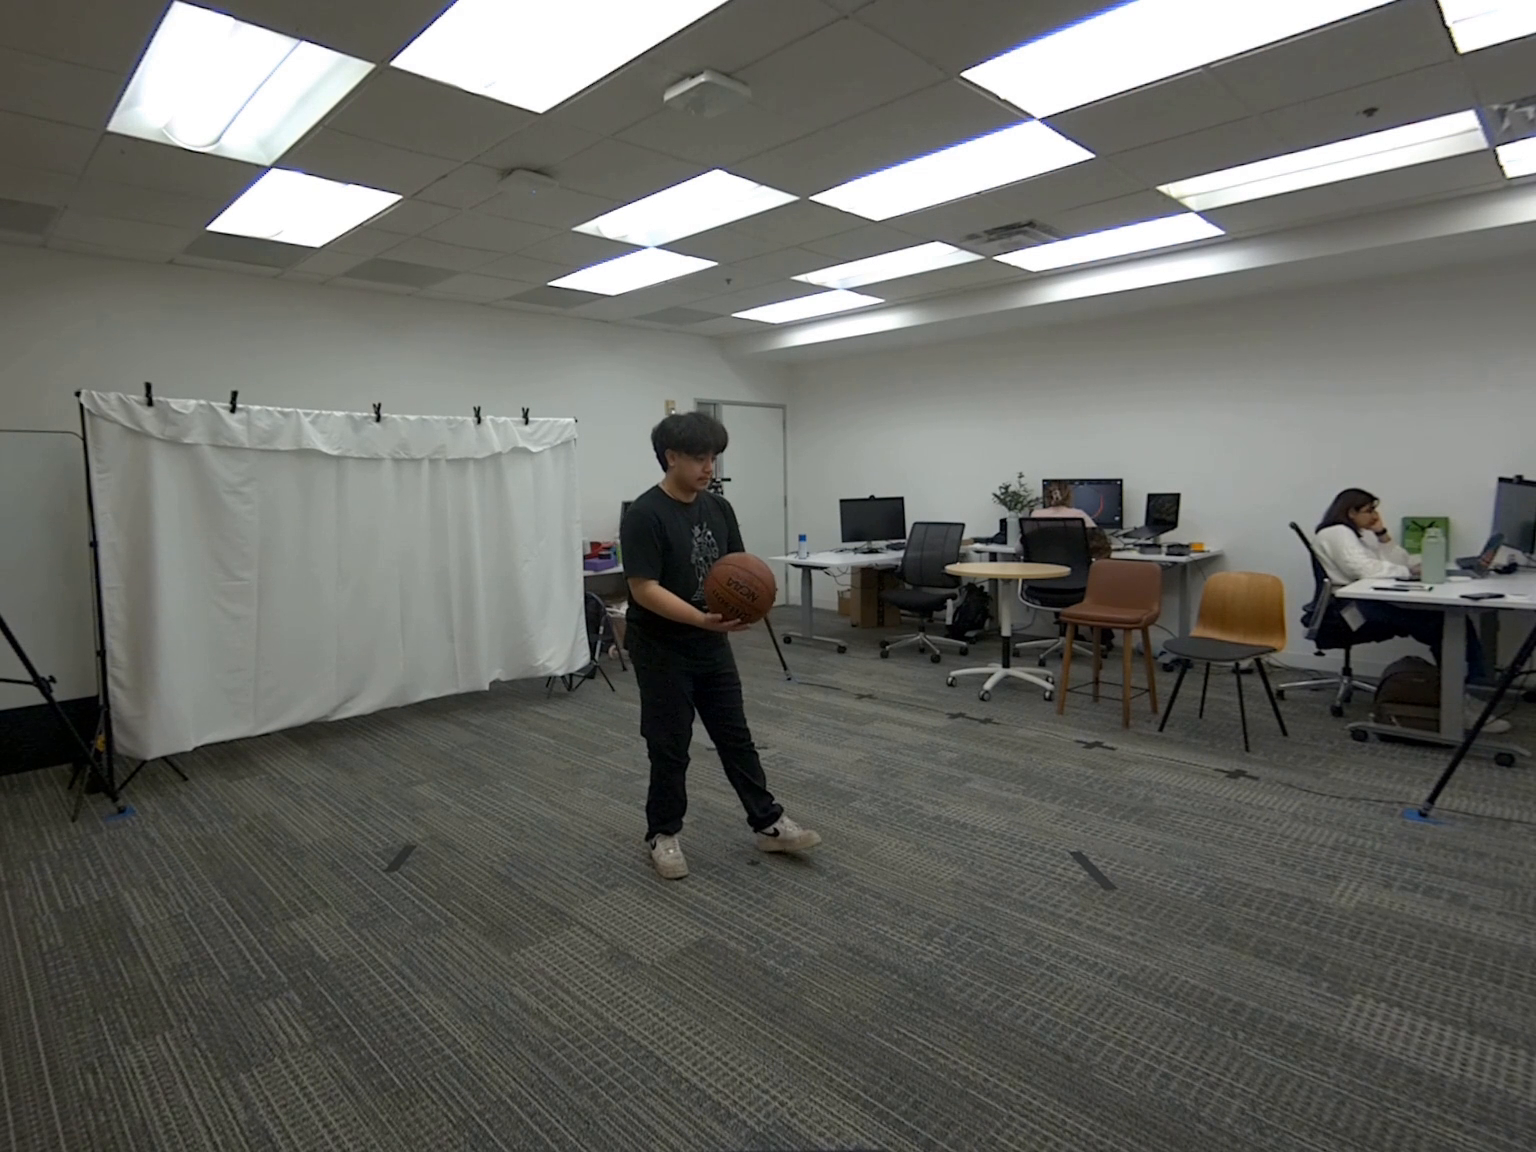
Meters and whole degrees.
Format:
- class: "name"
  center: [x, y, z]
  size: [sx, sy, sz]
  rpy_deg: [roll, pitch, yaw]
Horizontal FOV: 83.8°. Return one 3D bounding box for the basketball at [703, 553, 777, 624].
- class: "basketball"
  center: [-0.093, 0.048, 2.793]
  size: [0.236, 0.235, 0.237]
  rpy_deg: [-1, 5, -2]
